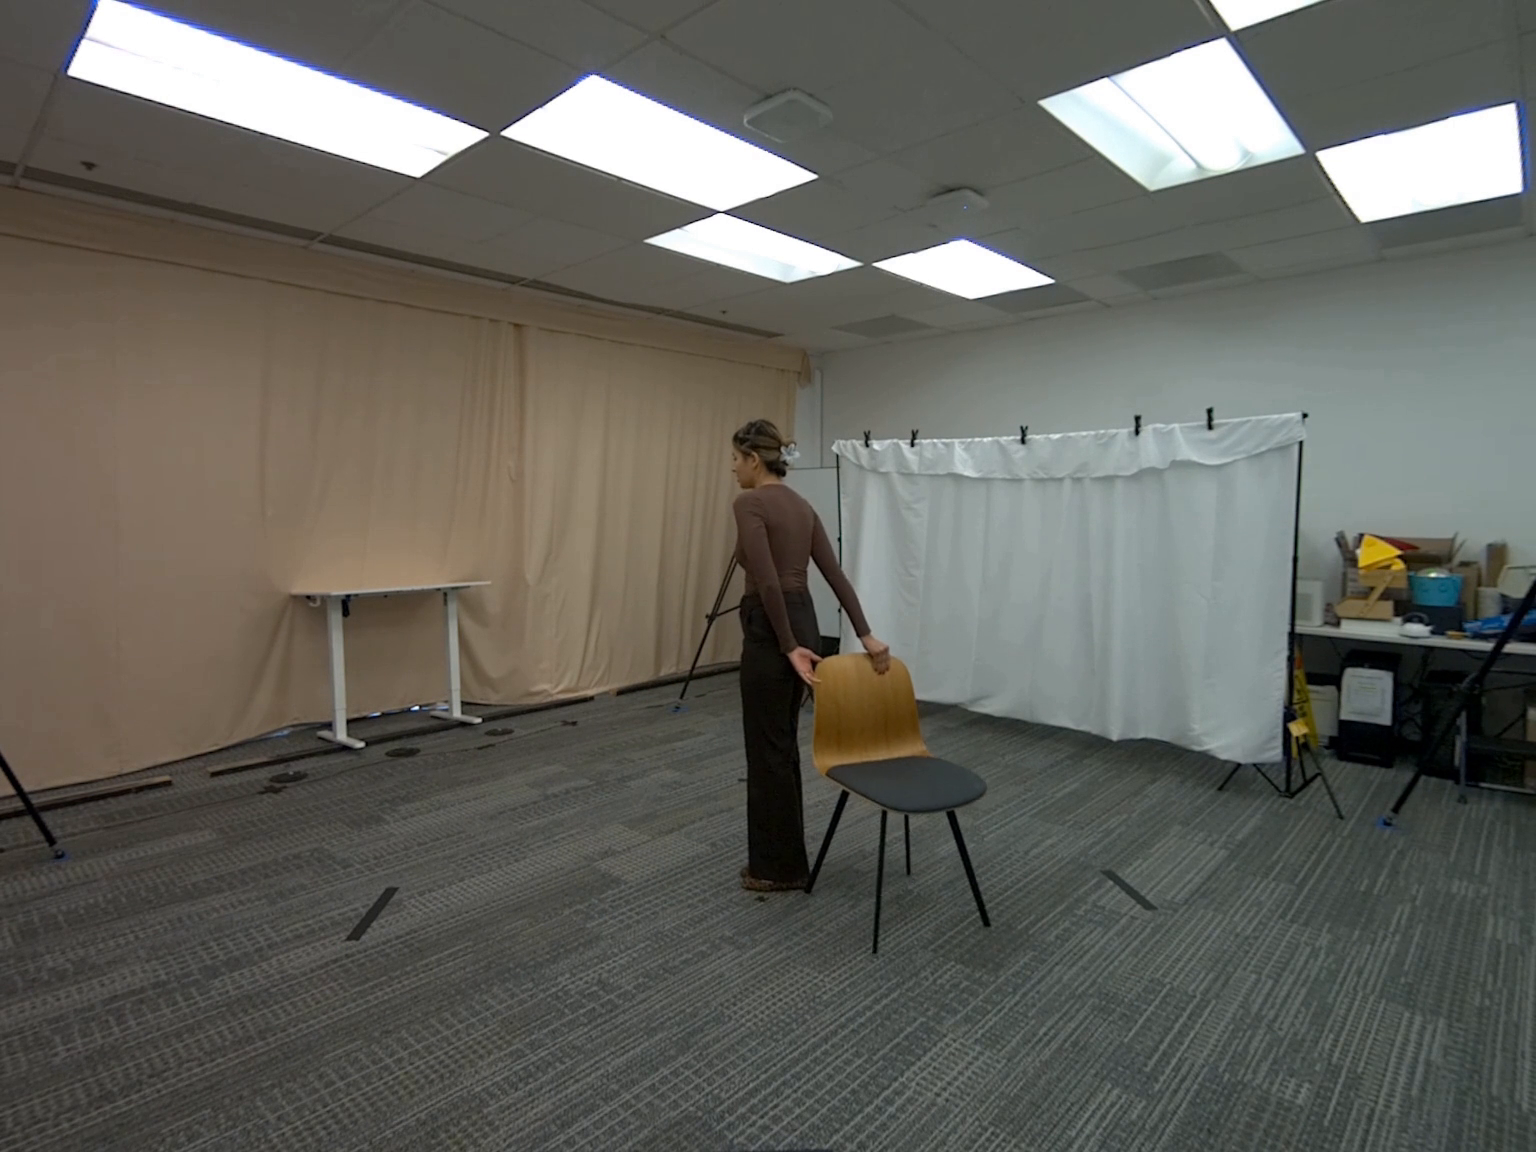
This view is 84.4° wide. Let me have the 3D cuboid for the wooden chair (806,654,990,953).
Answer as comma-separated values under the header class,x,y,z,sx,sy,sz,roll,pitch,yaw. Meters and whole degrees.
class,x,y,z,sx,sy,sz,roll,pitch,yaw
wooden chair,0.440,0.725,2.873,0.467,0.878,0.535,-1,-1,-24
